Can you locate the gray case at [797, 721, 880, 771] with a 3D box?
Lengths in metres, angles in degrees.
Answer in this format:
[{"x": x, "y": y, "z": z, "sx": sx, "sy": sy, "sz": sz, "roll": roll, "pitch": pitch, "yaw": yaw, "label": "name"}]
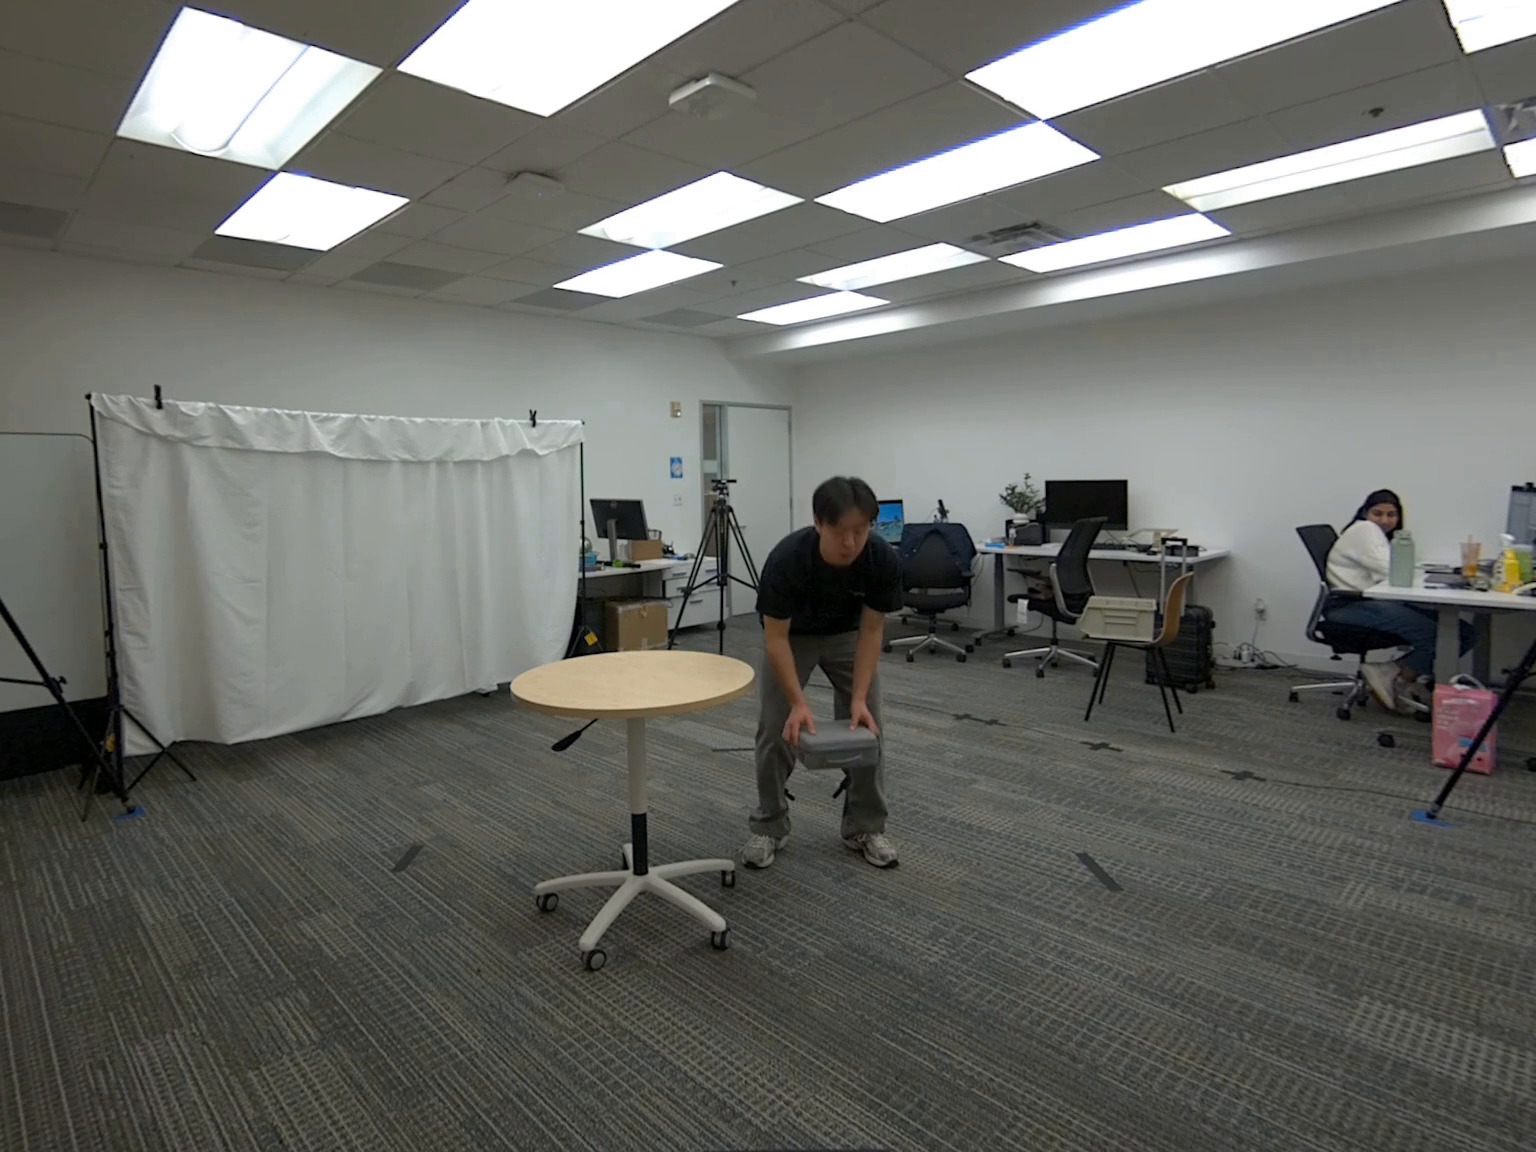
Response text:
[{"x": 0.218, "y": 0.577, "z": 2.878, "sx": 0.261, "sy": 0.103, "sz": 0.290, "roll": -2, "pitch": 5, "yaw": -8, "label": "gray case"}]
